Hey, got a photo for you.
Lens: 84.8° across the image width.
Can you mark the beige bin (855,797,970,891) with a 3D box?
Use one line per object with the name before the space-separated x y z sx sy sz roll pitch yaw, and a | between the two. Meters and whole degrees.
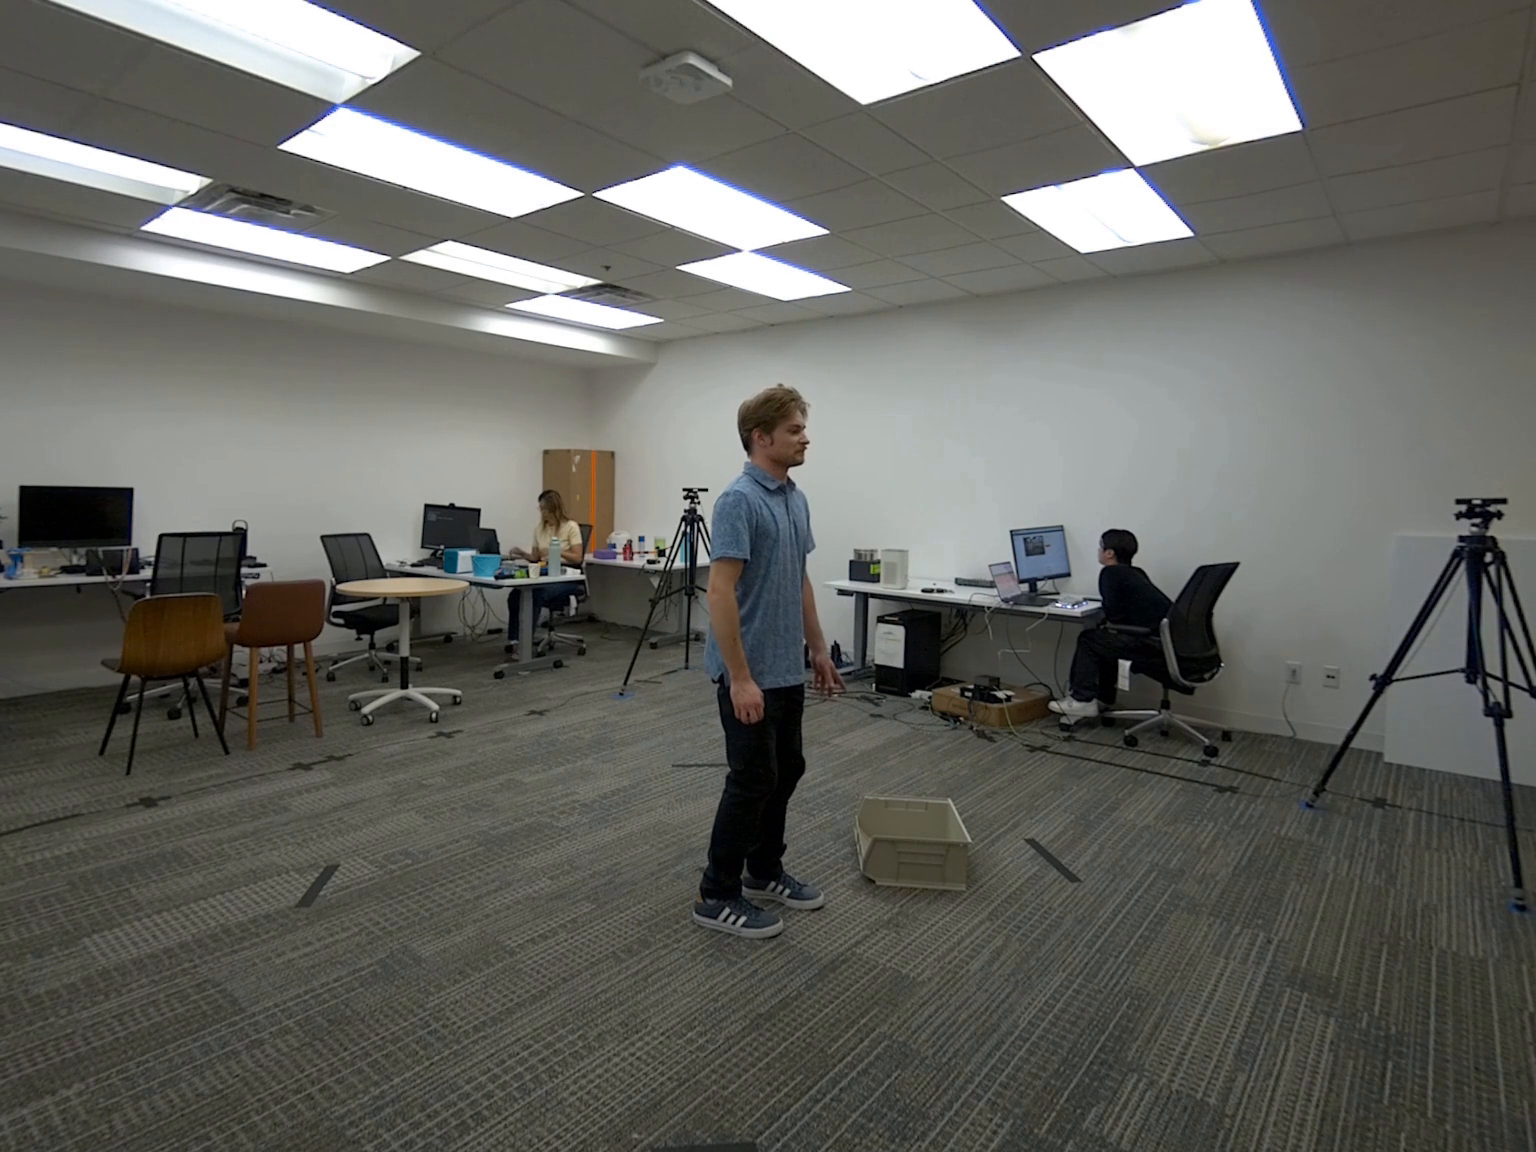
beige bin | 0.525 0.989 3.201 0.379 0.188 0.422 2 5 3
